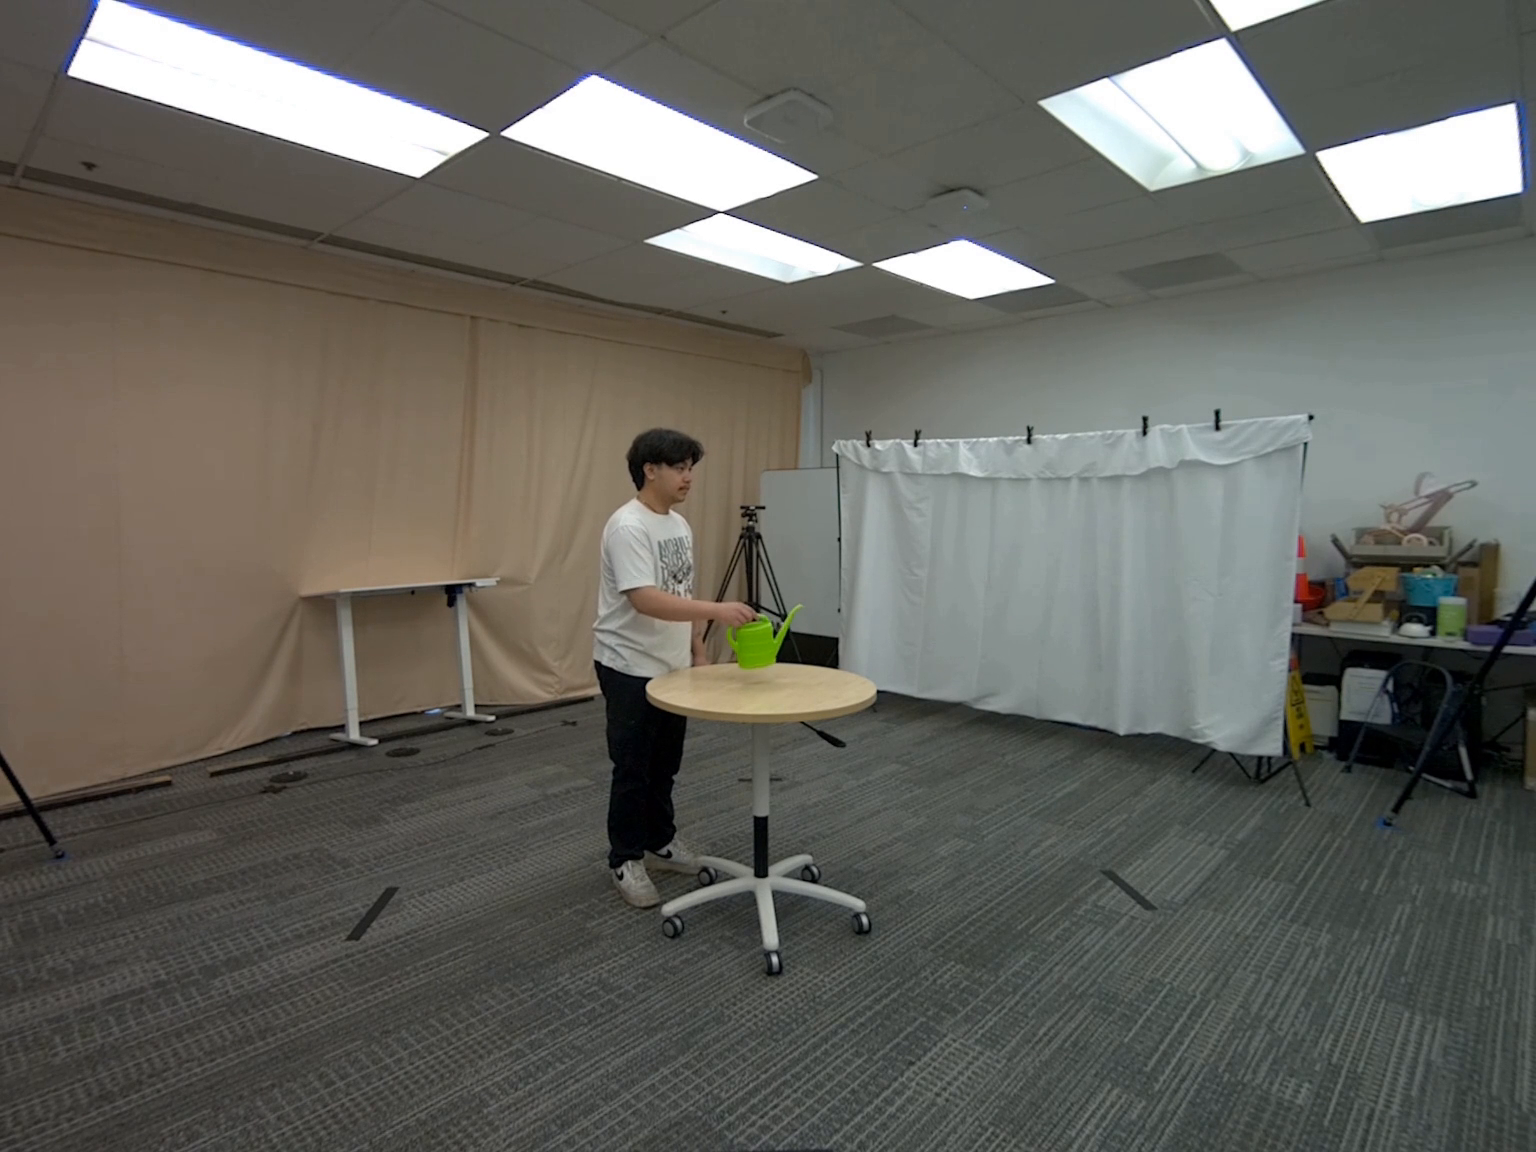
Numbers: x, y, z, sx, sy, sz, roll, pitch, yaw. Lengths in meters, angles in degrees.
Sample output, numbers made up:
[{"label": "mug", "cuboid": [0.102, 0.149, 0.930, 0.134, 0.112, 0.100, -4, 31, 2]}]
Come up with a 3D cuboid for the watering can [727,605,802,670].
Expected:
[{"label": "watering can", "cuboid": [0.000, 0.217, 2.821, 0.276, 0.175, 0.100, -7, 12, -9]}]
